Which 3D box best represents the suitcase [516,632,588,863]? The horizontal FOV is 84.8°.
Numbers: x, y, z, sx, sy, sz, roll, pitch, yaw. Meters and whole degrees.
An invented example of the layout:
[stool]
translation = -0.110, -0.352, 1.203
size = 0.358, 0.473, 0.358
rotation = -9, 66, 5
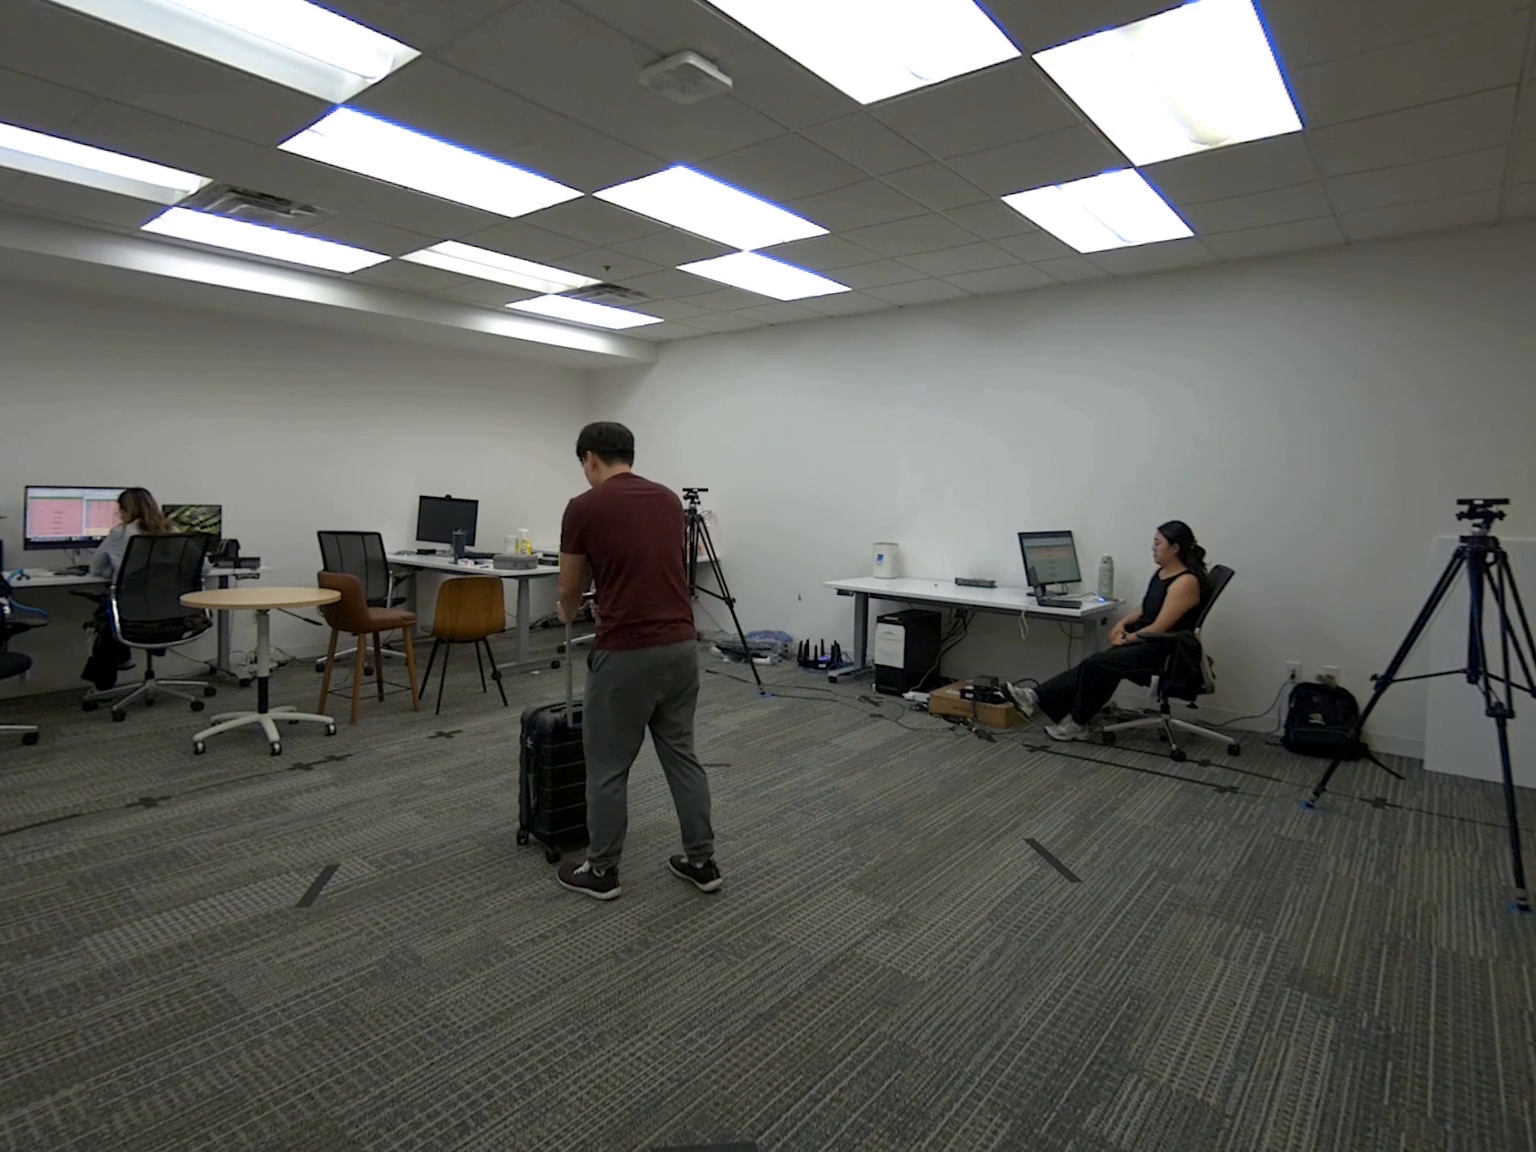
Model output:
[suitcase]
translation = -0.793, 0.564, 3.340
size = 0.372, 0.980, 0.265
rotation = 1, -2, -41
